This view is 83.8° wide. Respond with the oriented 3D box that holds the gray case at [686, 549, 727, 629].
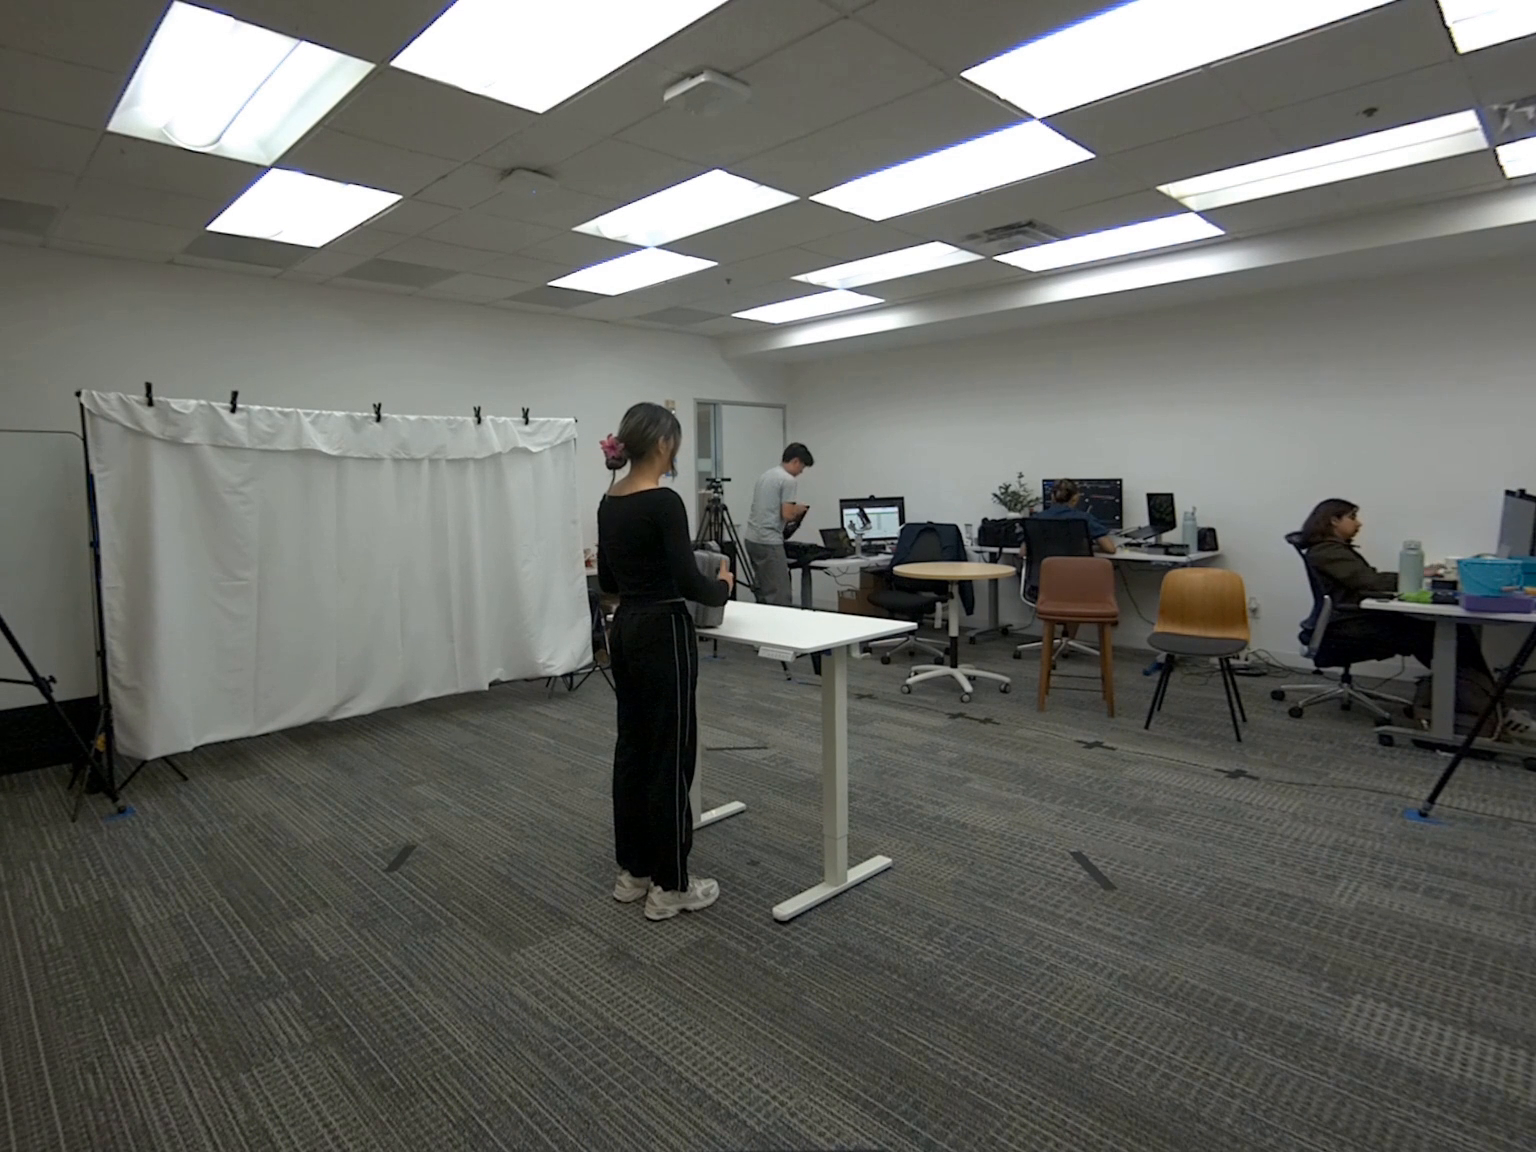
[{"bbox_3d":[-0.217,0.041,3.024,0.103,0.260,0.260,5,2,-12],"label":"gray case"}]
